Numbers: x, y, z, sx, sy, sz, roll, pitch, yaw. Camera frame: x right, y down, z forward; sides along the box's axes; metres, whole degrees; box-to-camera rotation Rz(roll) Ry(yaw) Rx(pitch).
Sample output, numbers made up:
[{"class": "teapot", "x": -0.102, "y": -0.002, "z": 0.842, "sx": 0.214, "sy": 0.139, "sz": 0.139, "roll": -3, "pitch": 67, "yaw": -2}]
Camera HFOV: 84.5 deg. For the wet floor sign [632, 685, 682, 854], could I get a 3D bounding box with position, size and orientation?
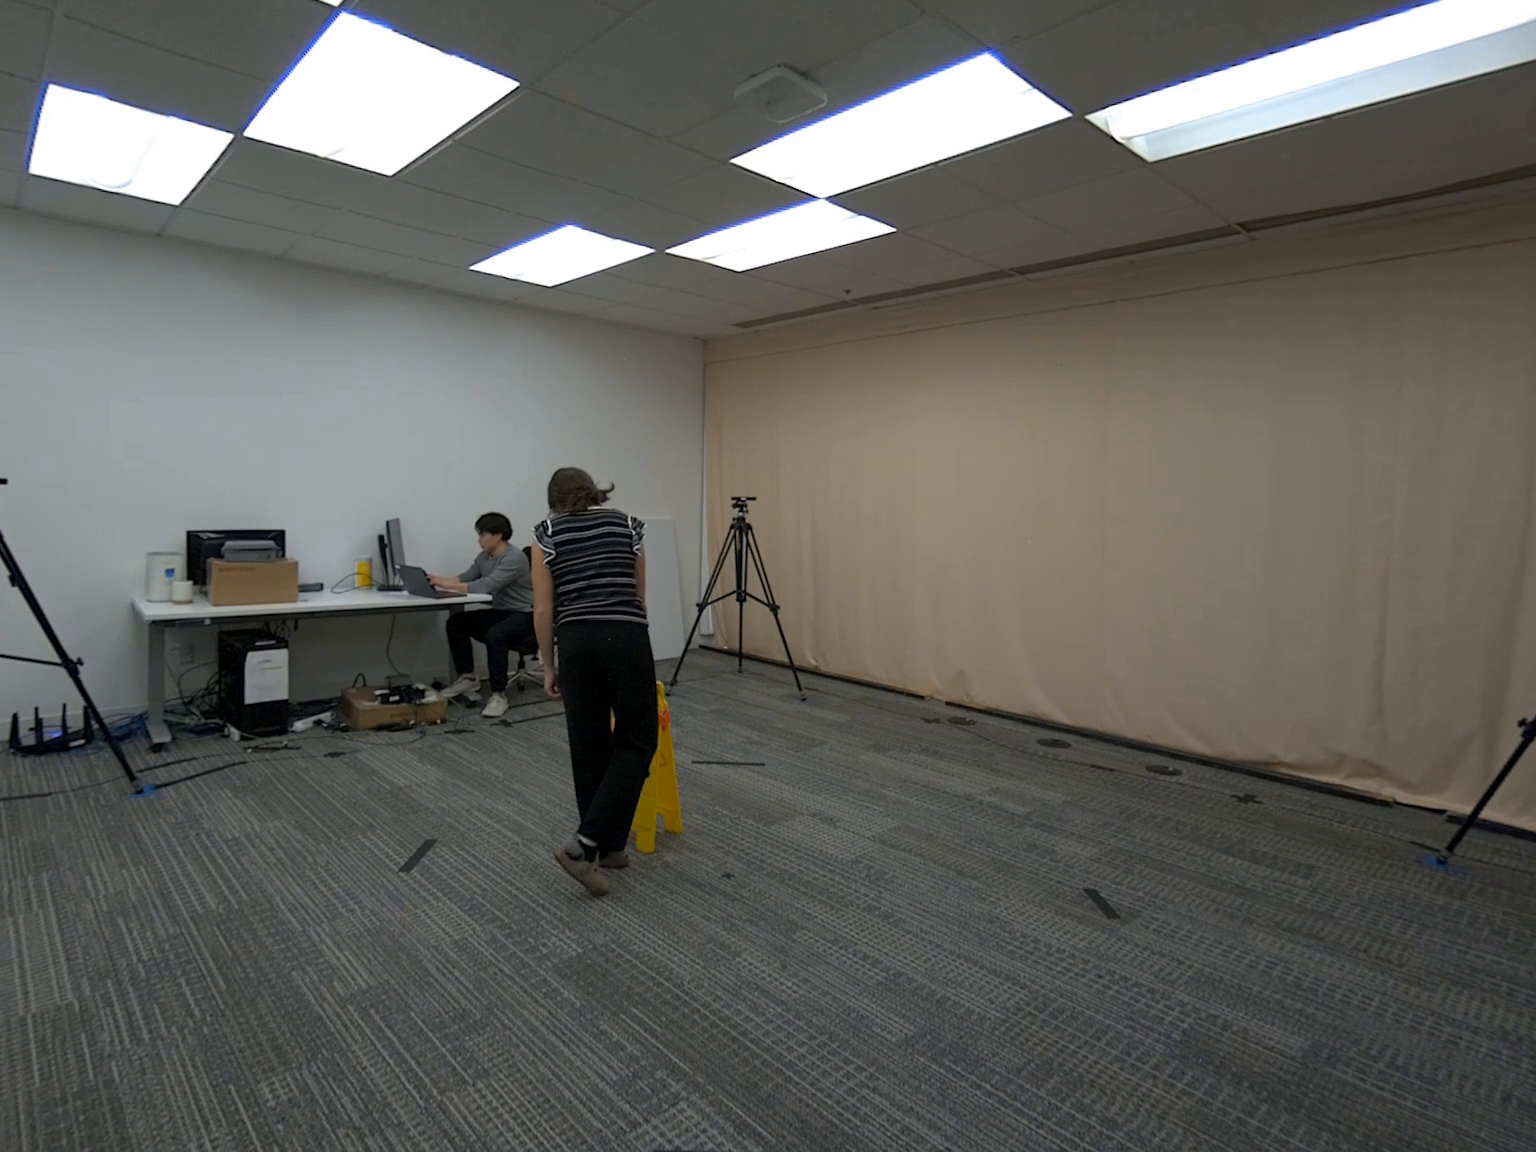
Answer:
[{"class": "wet floor sign", "x": -0.531, "y": 0.748, "z": 3.437, "sx": 0.287, "sy": 0.645, "sz": 0.285, "roll": 4, "pitch": 2, "yaw": 23}]
